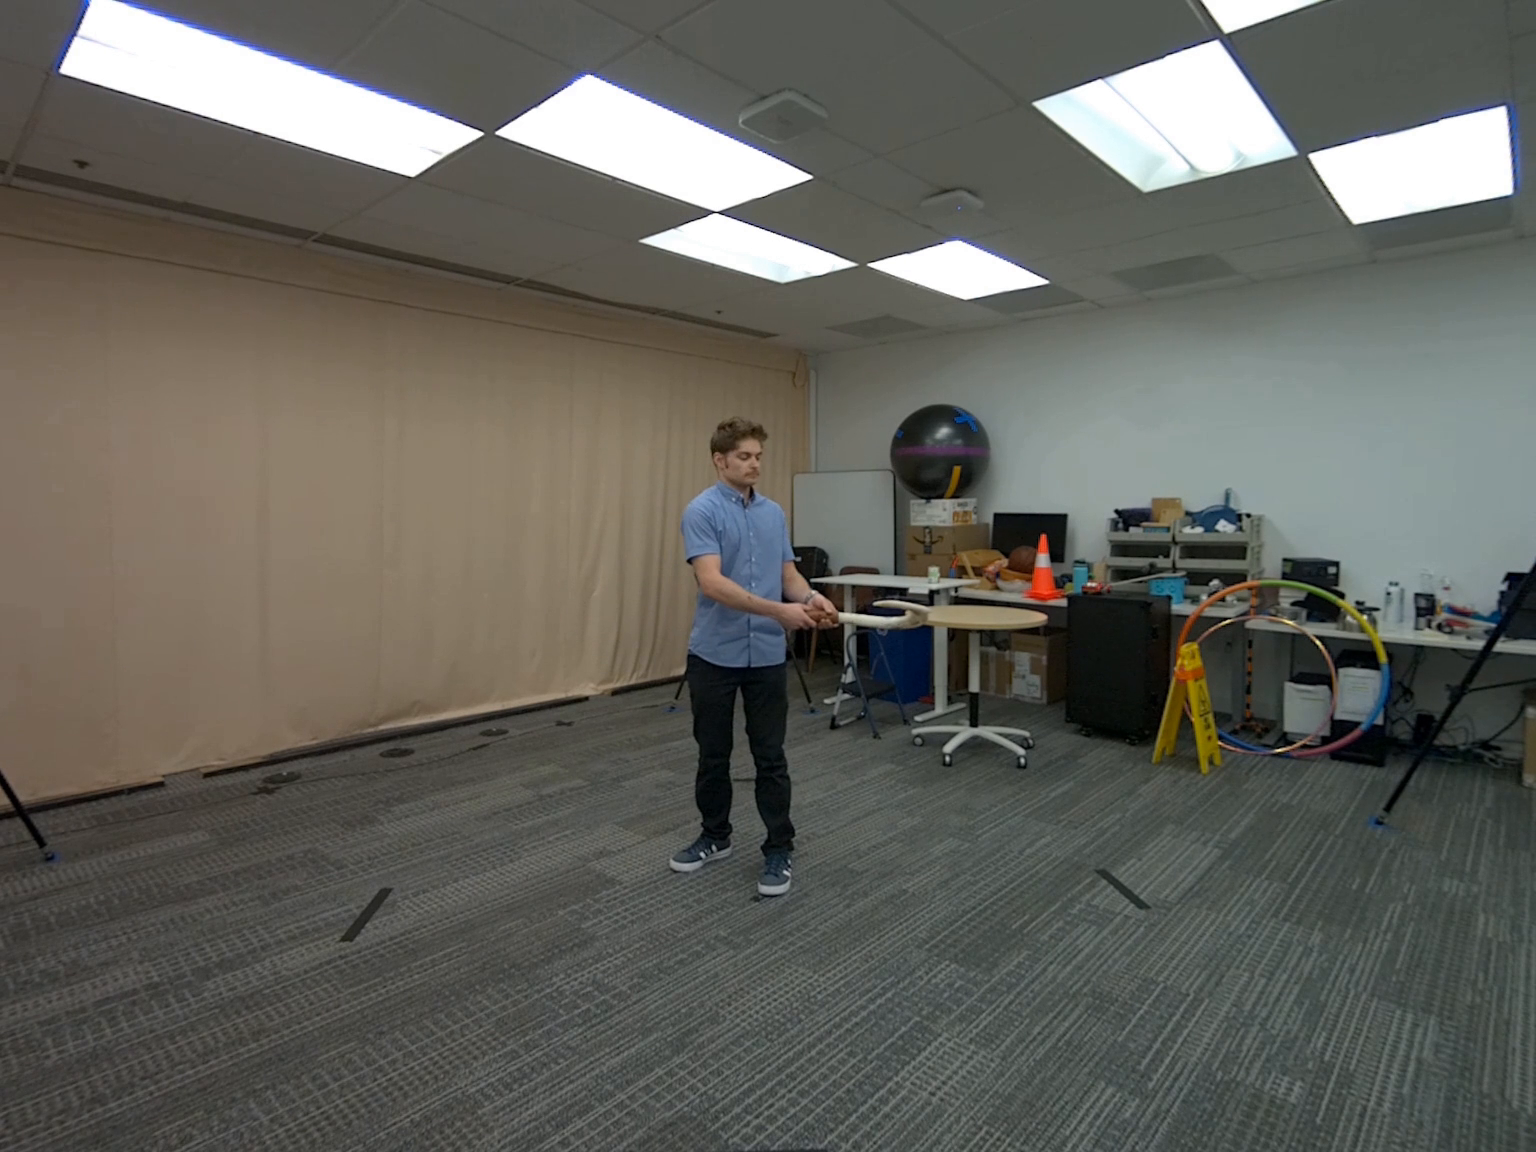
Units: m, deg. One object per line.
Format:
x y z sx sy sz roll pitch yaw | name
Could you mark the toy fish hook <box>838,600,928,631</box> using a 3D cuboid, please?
0.294 0.130 2.901 0.510 0.049 0.220 1 -28 7 | toy fish hook
